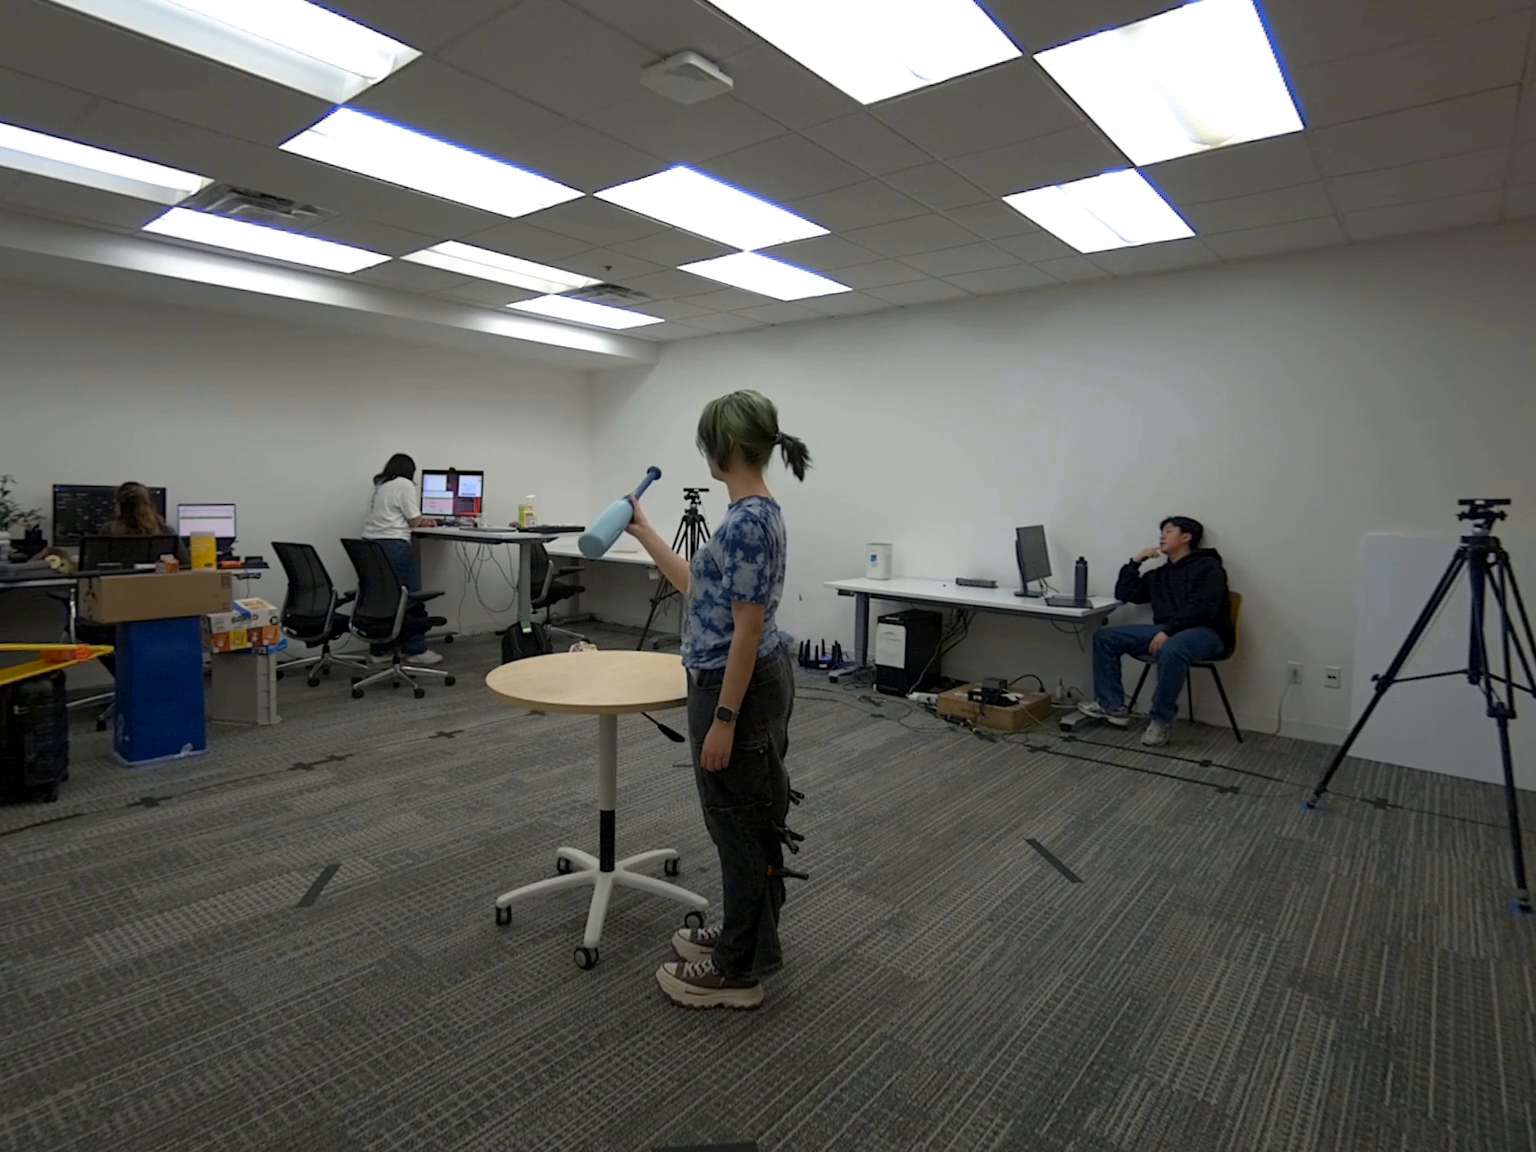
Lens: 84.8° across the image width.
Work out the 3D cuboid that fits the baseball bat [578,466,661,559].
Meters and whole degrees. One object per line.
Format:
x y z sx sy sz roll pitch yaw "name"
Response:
-0.448 -0.214 2.629 0.090 0.087 0.548 1 30 15 "baseball bat"
